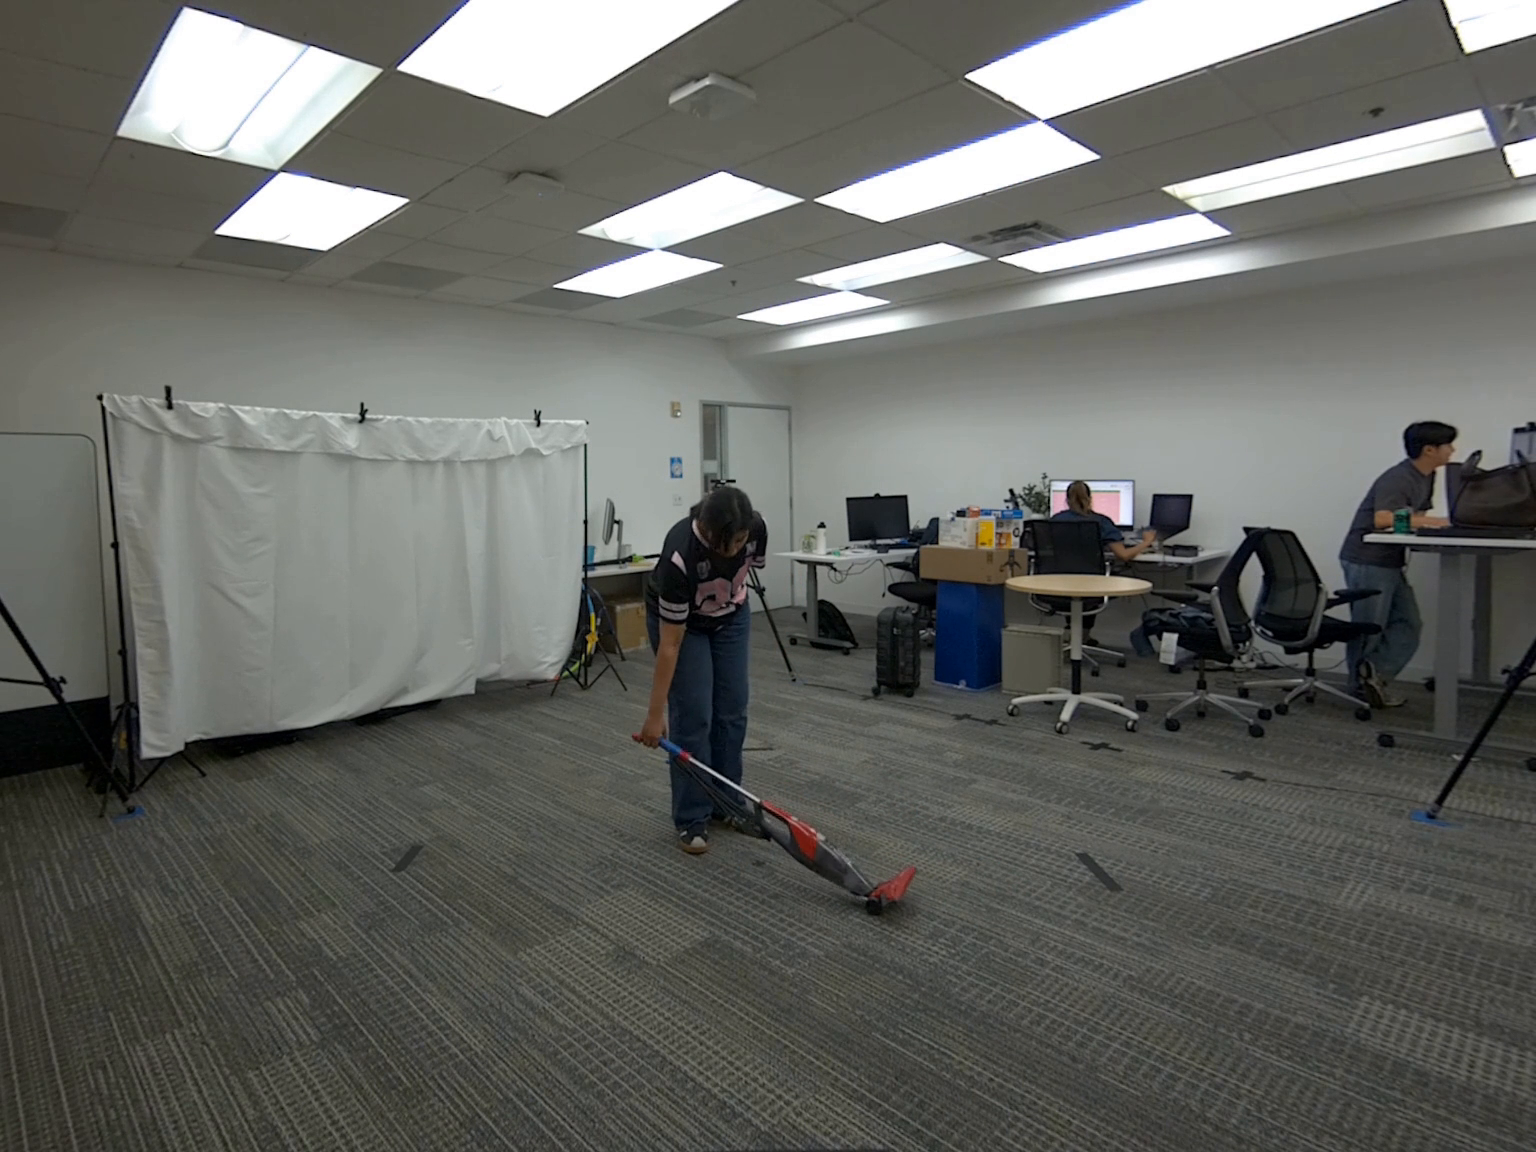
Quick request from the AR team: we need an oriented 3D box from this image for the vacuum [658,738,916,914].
[{"bbox_3d":[-0.030,0.826,2.962,1.078,0.143,0.247,25,15,23],"label":"vacuum"}]
